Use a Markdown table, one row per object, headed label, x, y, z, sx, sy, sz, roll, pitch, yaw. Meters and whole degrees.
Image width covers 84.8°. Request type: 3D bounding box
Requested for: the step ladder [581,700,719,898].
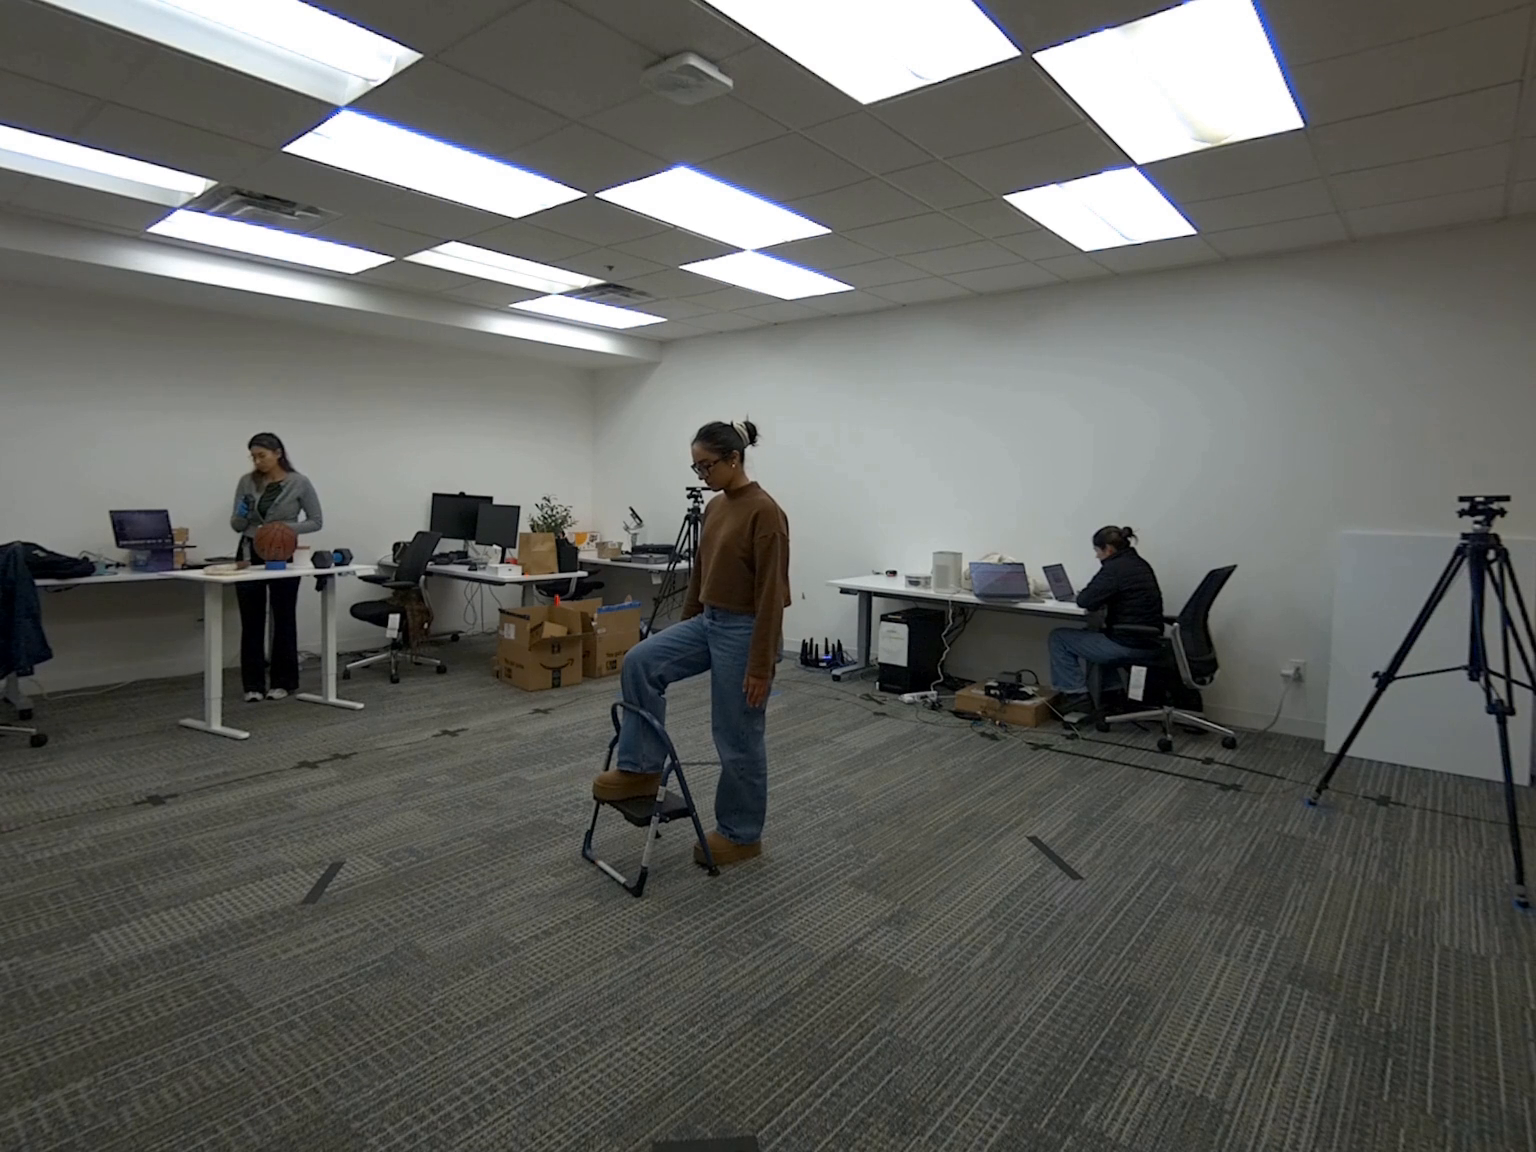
| label | x | y | z | sx | sy | sz | roll | pitch | yaw |
| --- | --- | --- | --- | --- | --- | --- | --- | --- | --- |
| step ladder | -0.447 | 0.758 | 3.116 | 0.339 | 0.604 | 0.445 | -2 | 5 | -39 |
